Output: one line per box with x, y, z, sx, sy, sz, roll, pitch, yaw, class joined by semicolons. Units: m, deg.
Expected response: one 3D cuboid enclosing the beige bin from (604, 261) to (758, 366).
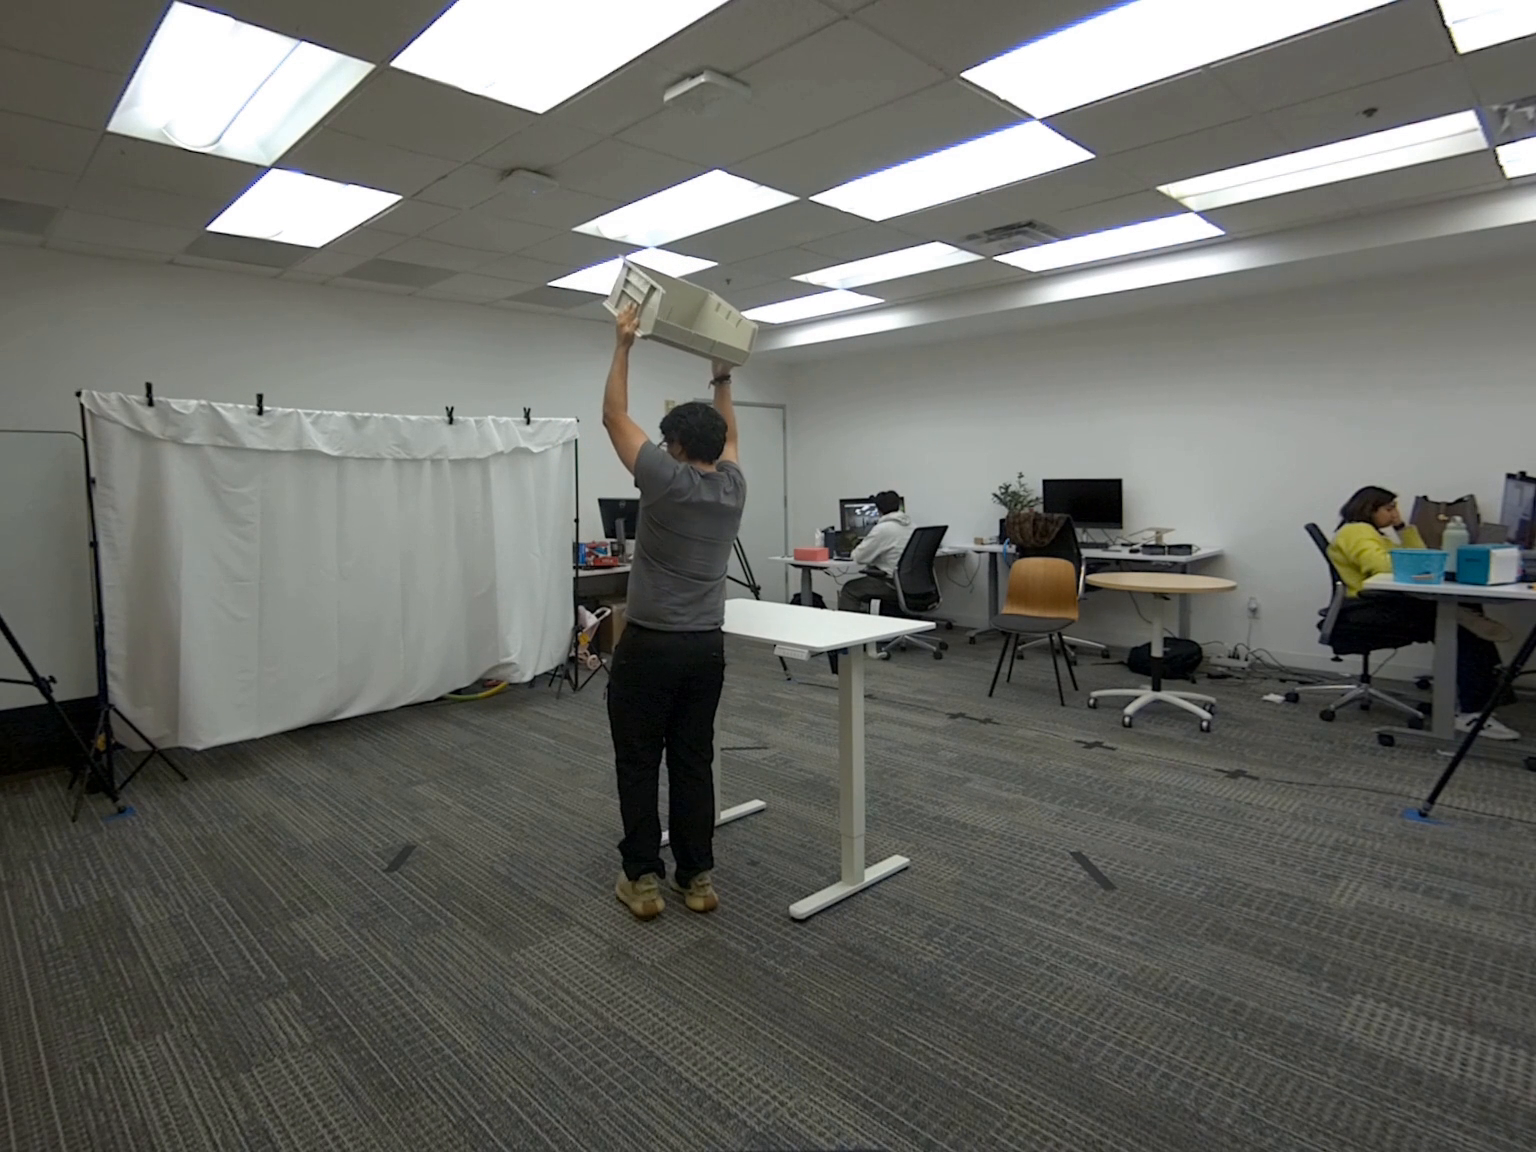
-0.308;-0.906;2.983;0.409;0.187;0.392;8;29;-41;beige bin
